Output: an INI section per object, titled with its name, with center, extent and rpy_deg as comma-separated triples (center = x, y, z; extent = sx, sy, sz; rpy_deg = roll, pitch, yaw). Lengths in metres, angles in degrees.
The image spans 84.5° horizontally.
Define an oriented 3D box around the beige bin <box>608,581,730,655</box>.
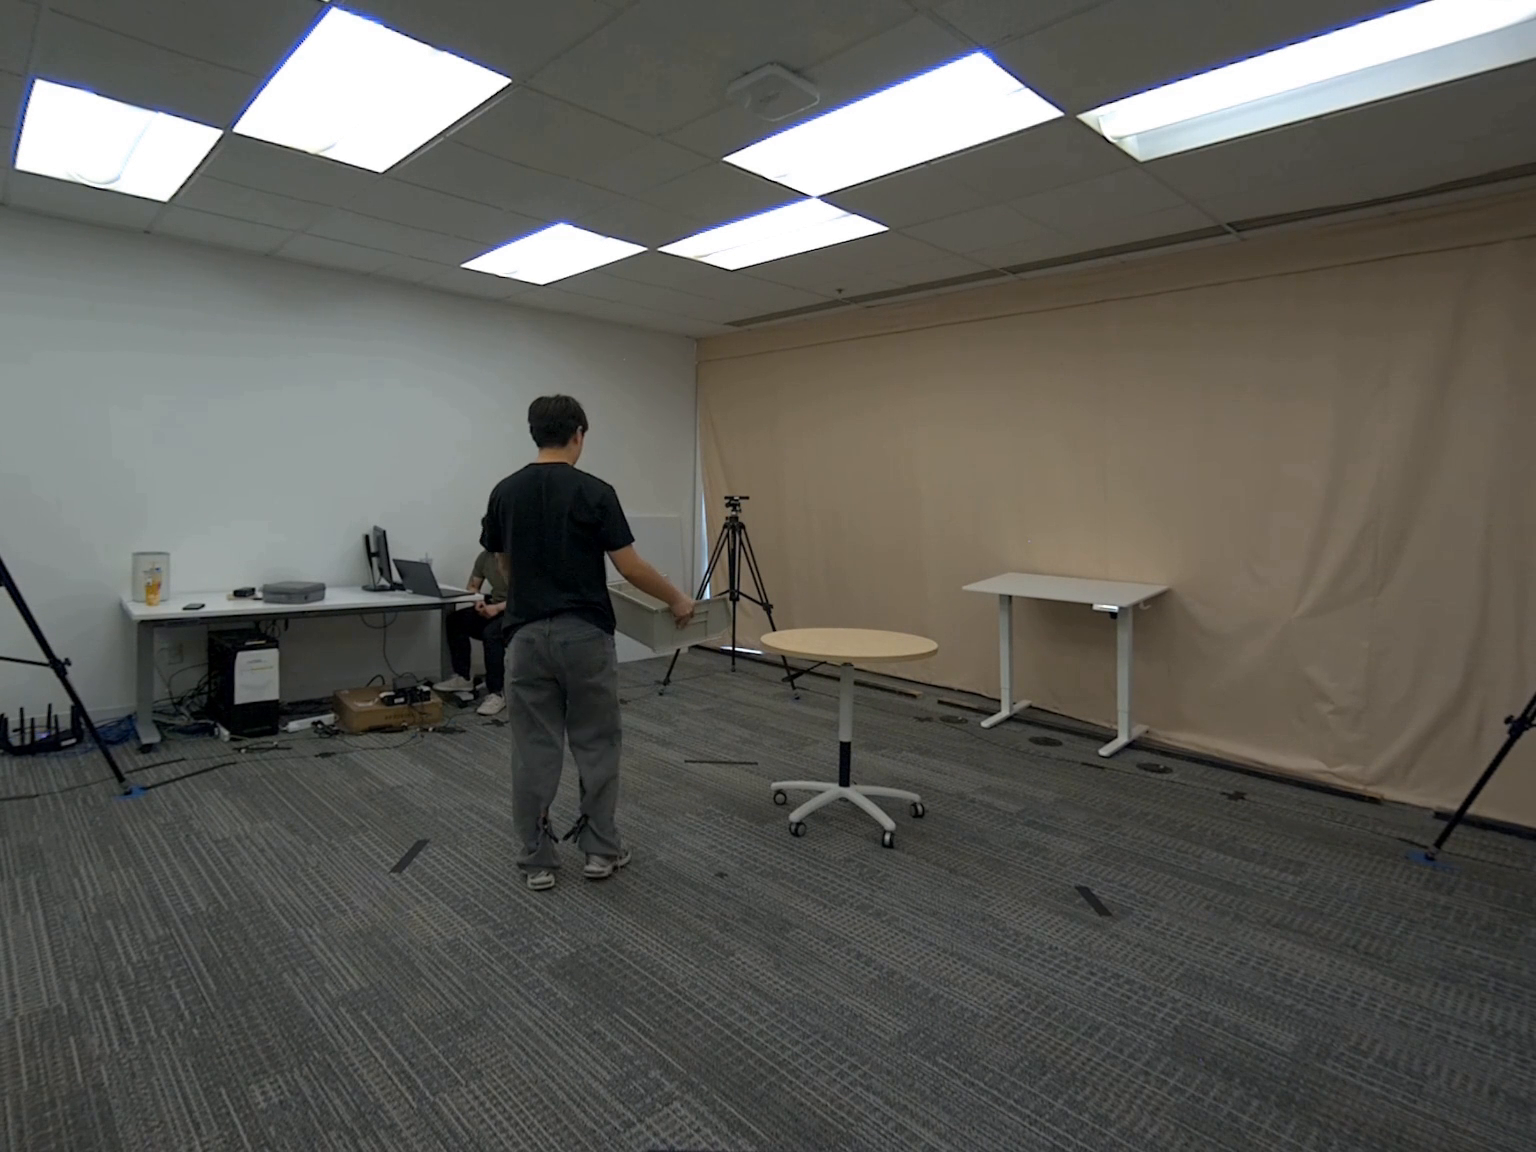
[beige bin]
center = -0.425, 0.138, 3.401
extent = 0.370, 0.187, 0.435
rpy_deg = -11, 20, -39
